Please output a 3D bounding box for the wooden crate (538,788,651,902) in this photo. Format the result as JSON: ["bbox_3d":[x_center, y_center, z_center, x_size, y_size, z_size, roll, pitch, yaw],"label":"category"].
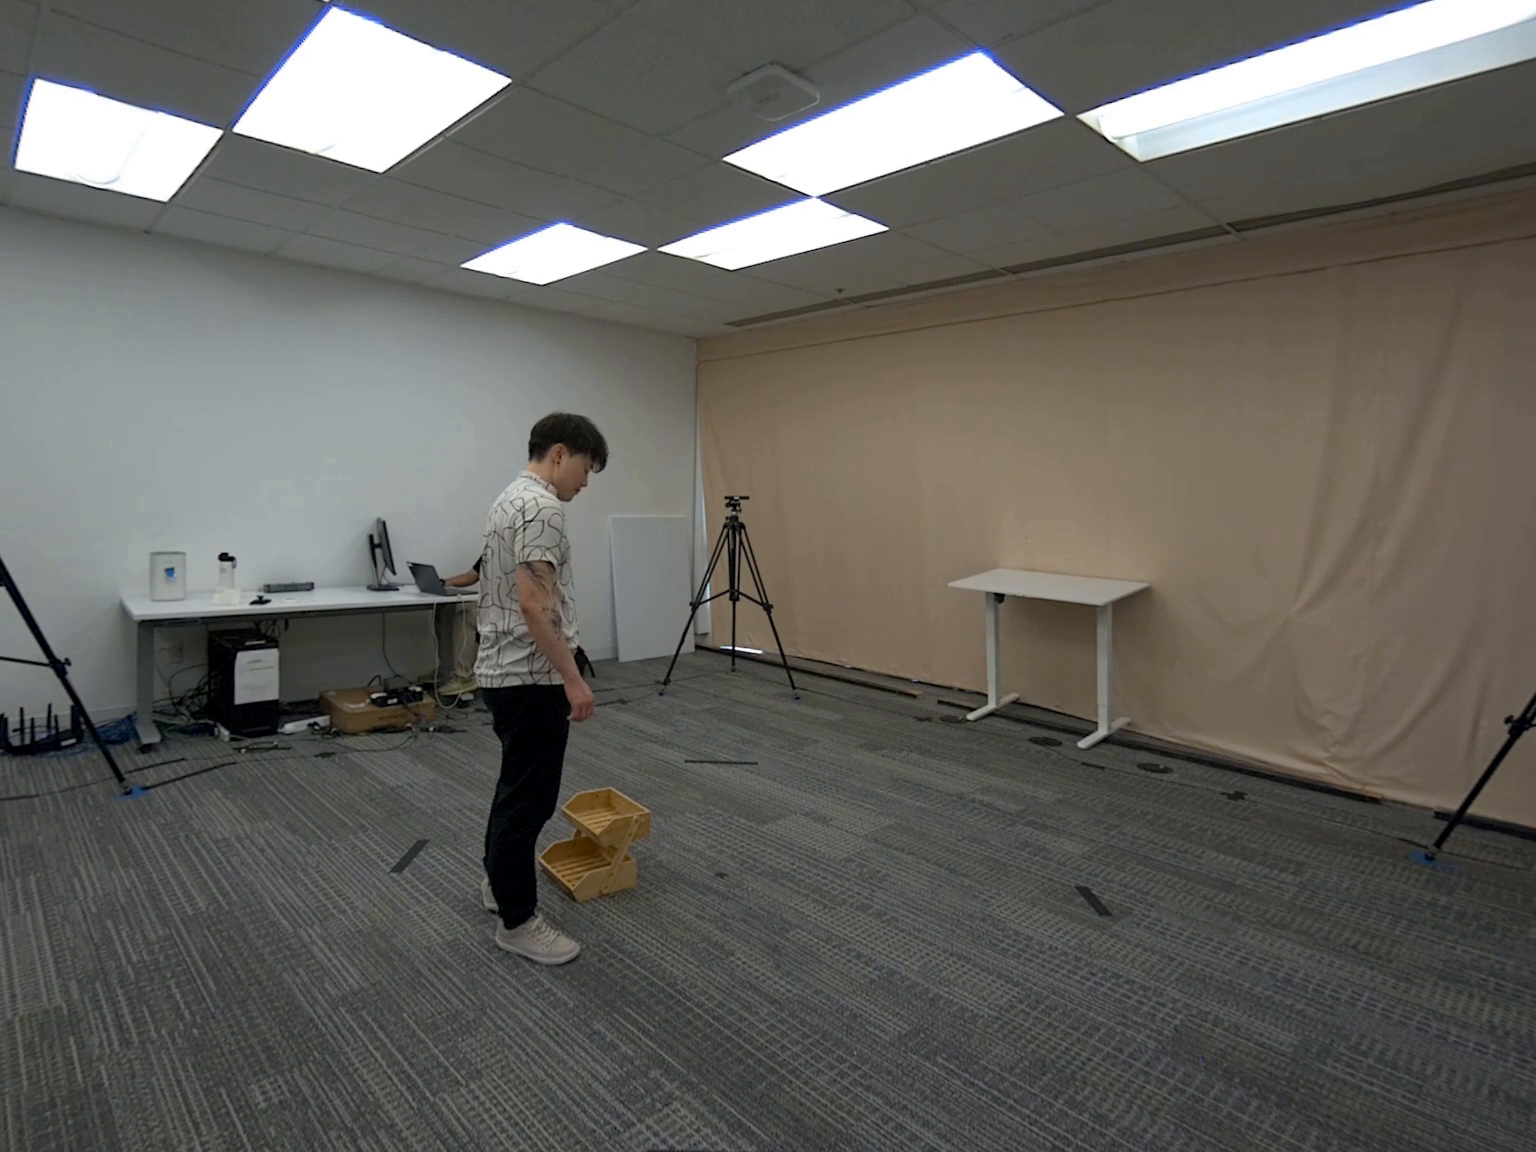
[{"bbox_3d":[-0.646,0.964,3.060,0.295,0.273,0.332,-1,5,-37],"label":"wooden crate"}]
